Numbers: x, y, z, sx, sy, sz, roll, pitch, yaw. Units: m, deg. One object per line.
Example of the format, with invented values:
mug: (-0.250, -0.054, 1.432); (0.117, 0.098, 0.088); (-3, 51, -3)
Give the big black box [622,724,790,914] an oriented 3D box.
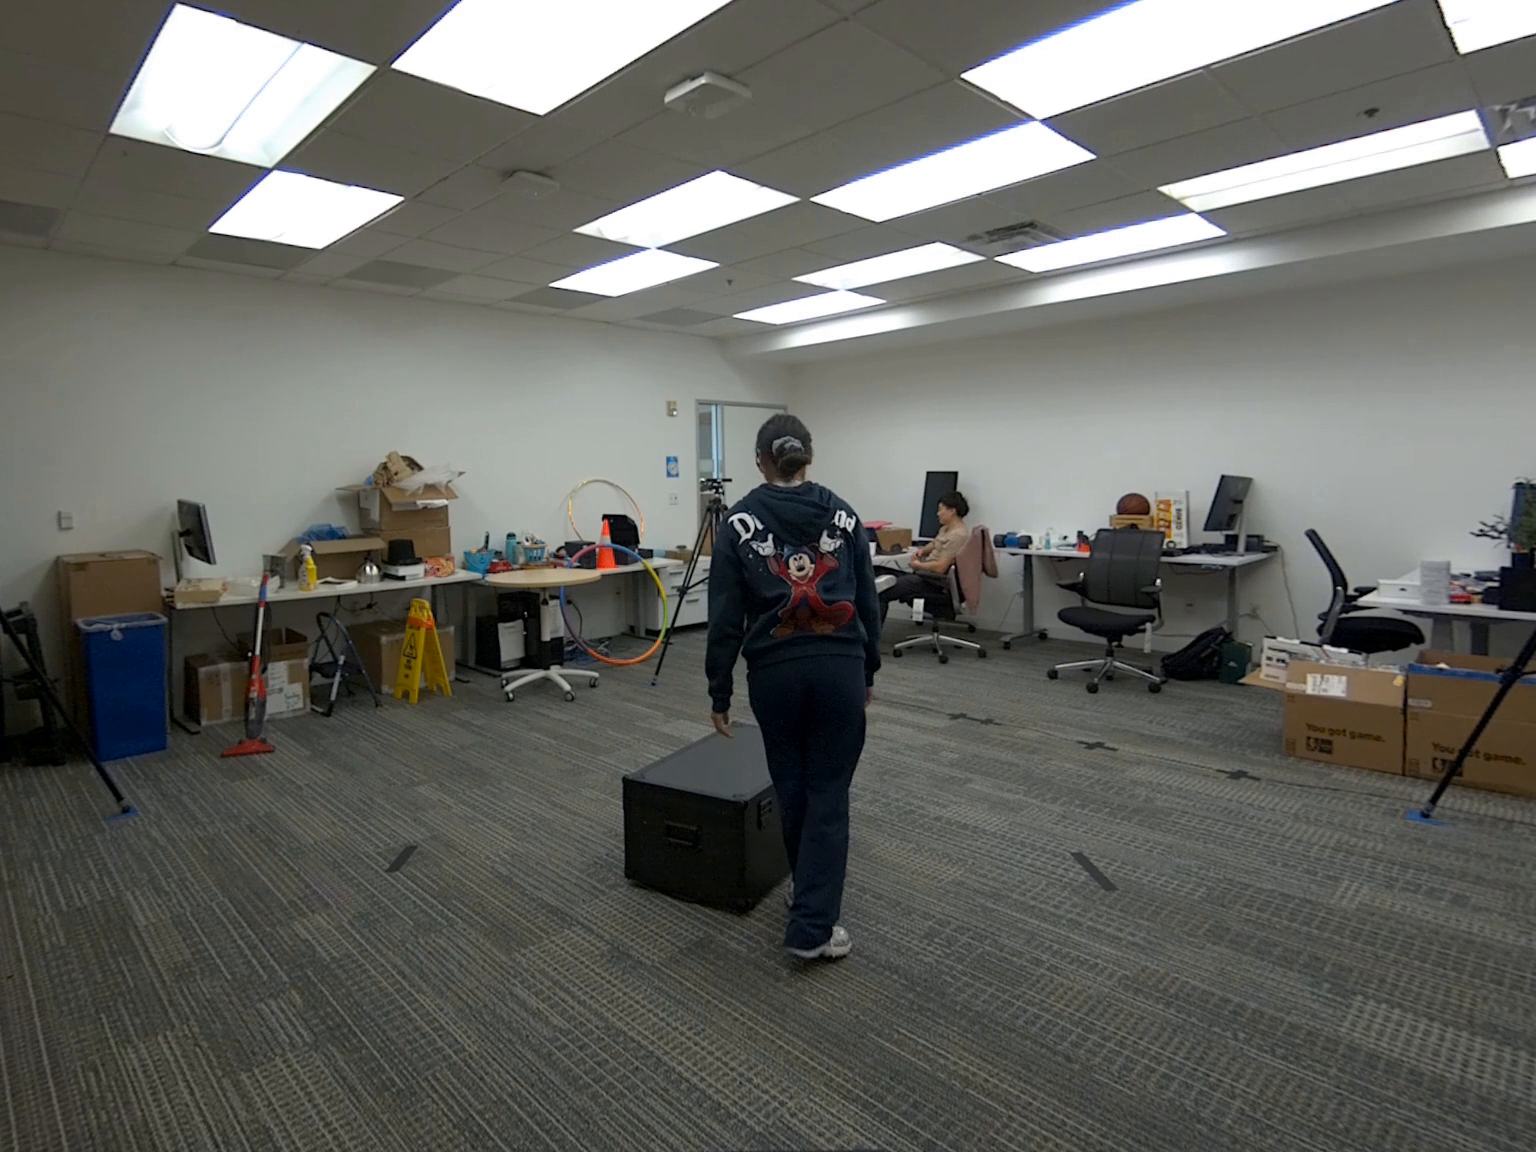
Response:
big black box: (-0.089, 0.841, 3.184); (0.534, 0.394, 0.844); (2, 7, 28)
